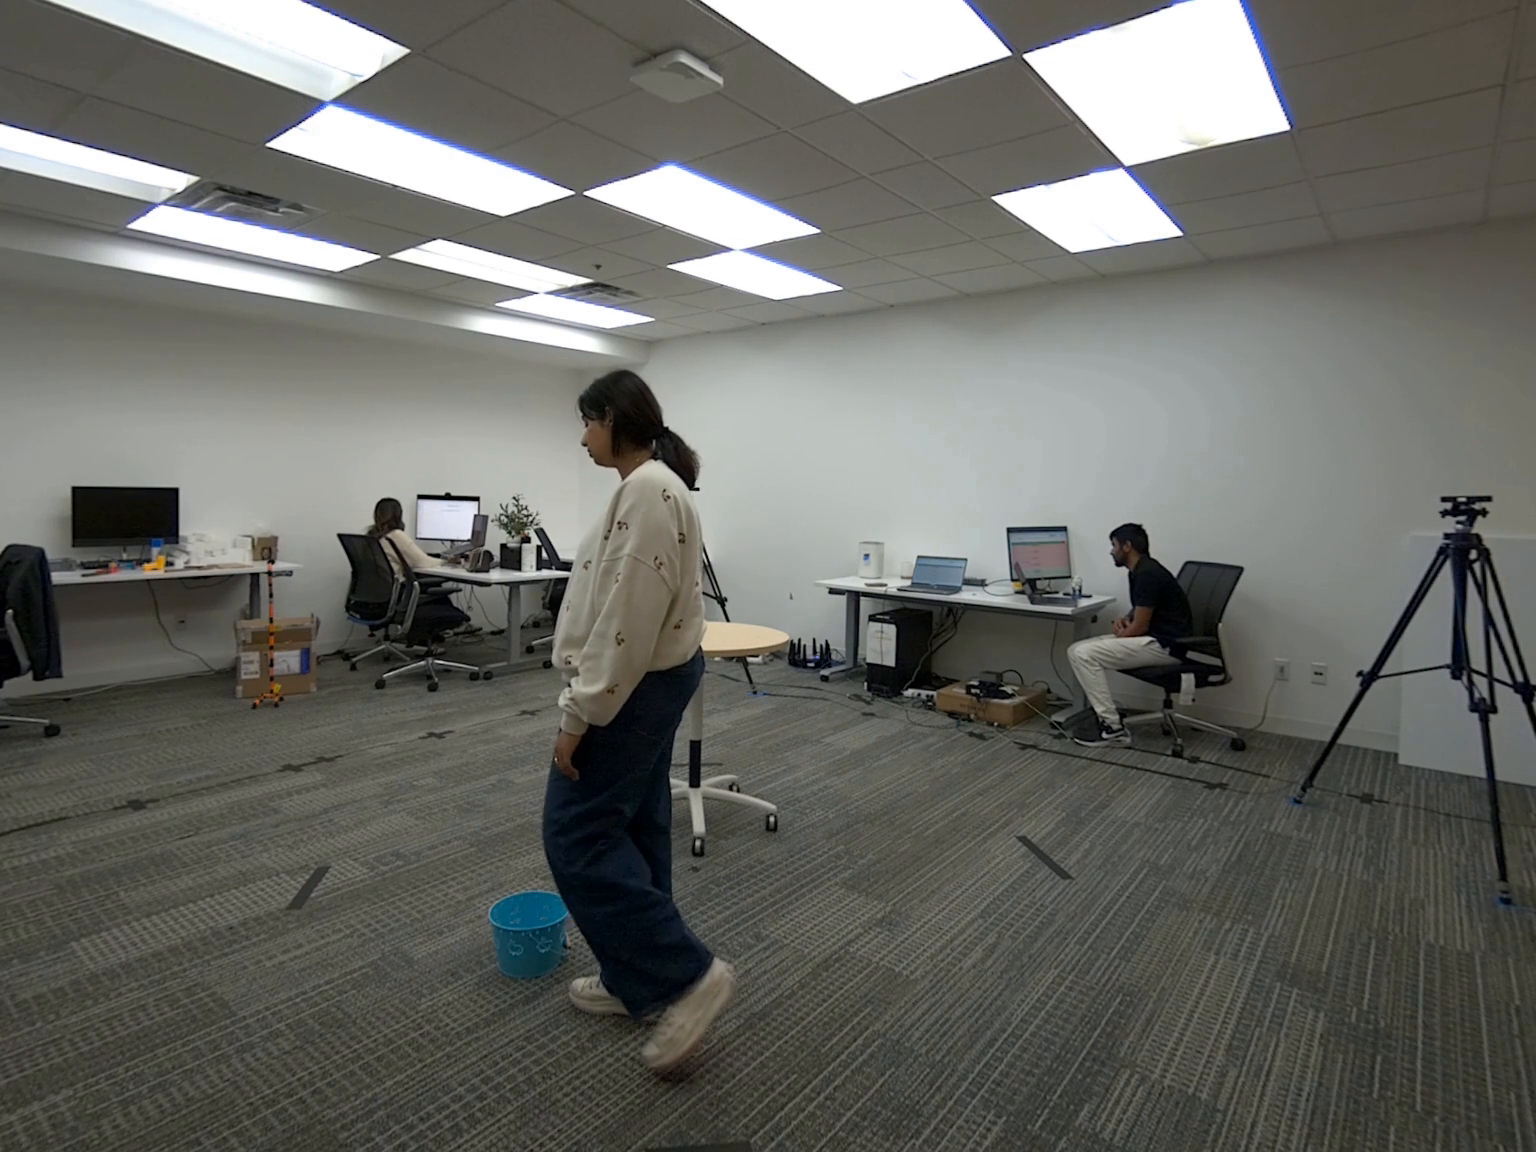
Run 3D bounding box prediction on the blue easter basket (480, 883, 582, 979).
[{"bbox_3d":[-0.692,1.039,2.478,0.243,0.155,0.245,0,5,-2],"label":"blue easter basket"}]
